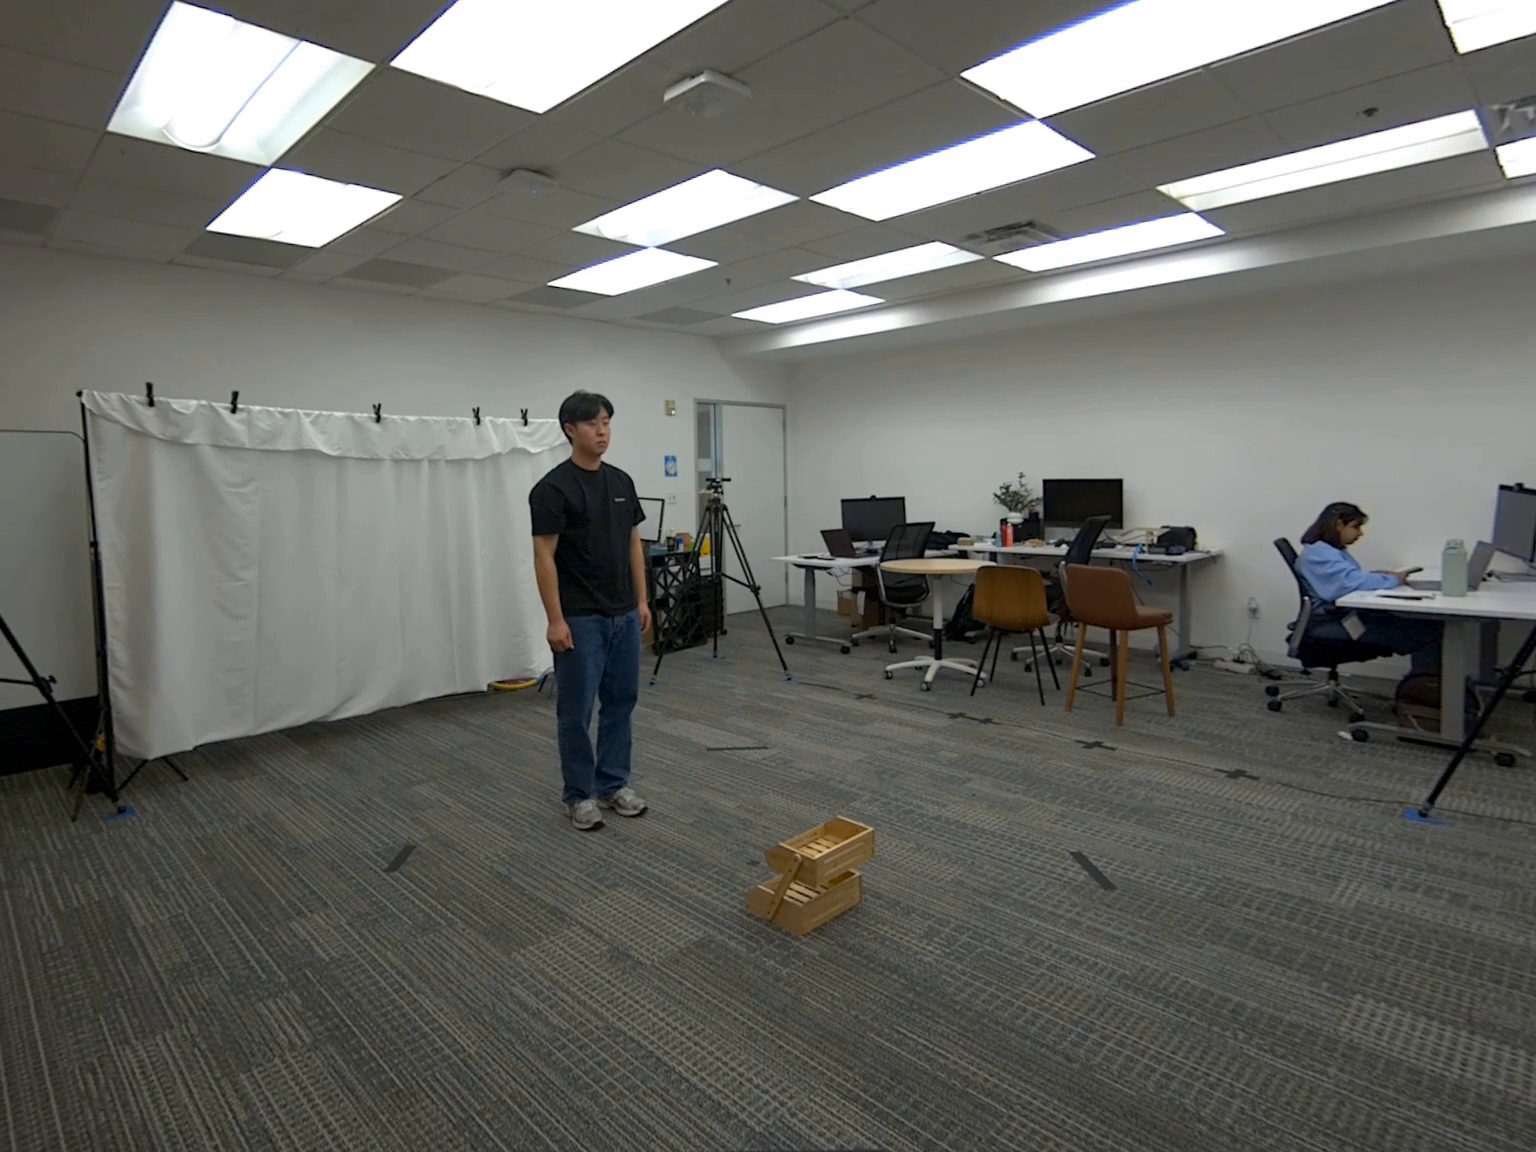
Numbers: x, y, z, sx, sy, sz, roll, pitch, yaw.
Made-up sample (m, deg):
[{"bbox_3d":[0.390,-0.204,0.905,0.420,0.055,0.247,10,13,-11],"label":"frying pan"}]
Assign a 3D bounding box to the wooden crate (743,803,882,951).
[{"bbox_3d":[0.144,0.954,2.771,0.311,0.272,0.316,5,9,44],"label":"wooden crate"}]
